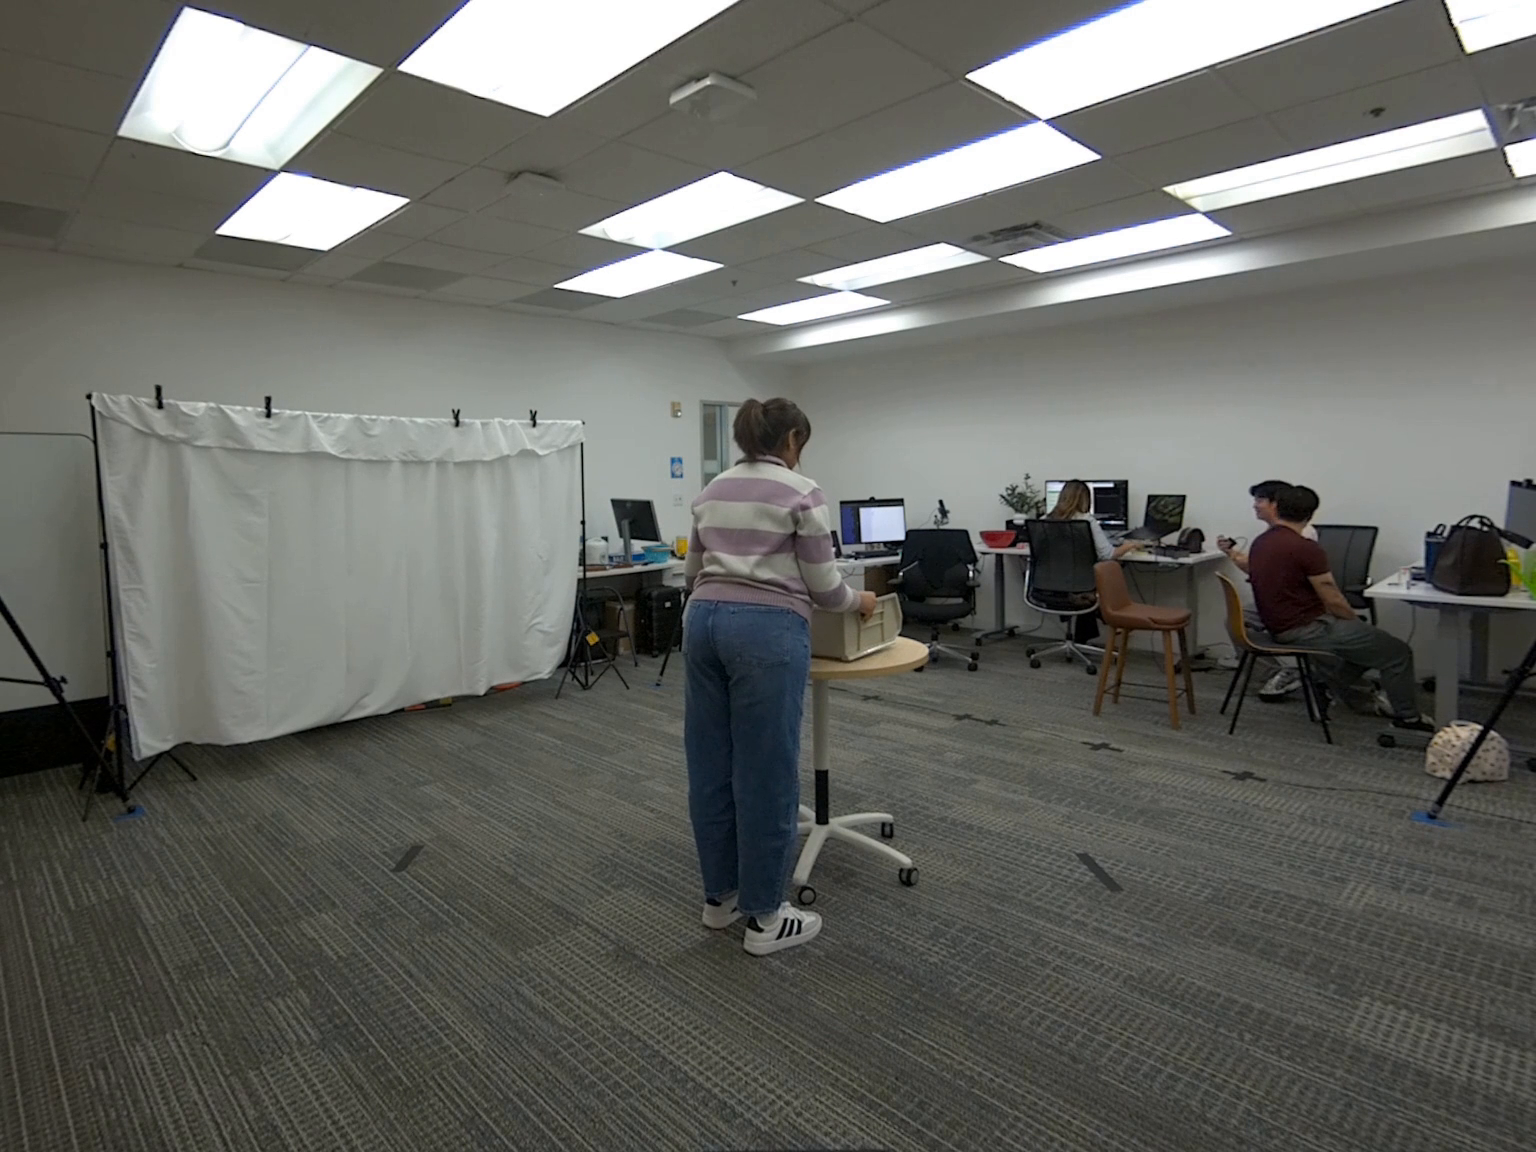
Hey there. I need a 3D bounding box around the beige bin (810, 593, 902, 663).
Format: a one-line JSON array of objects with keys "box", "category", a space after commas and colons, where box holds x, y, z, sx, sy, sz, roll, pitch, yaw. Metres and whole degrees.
[{"box": [0.202, 0.159, 3.063, 0.435, 0.188, 0.369, 2, 10, 38], "category": "beige bin"}]
